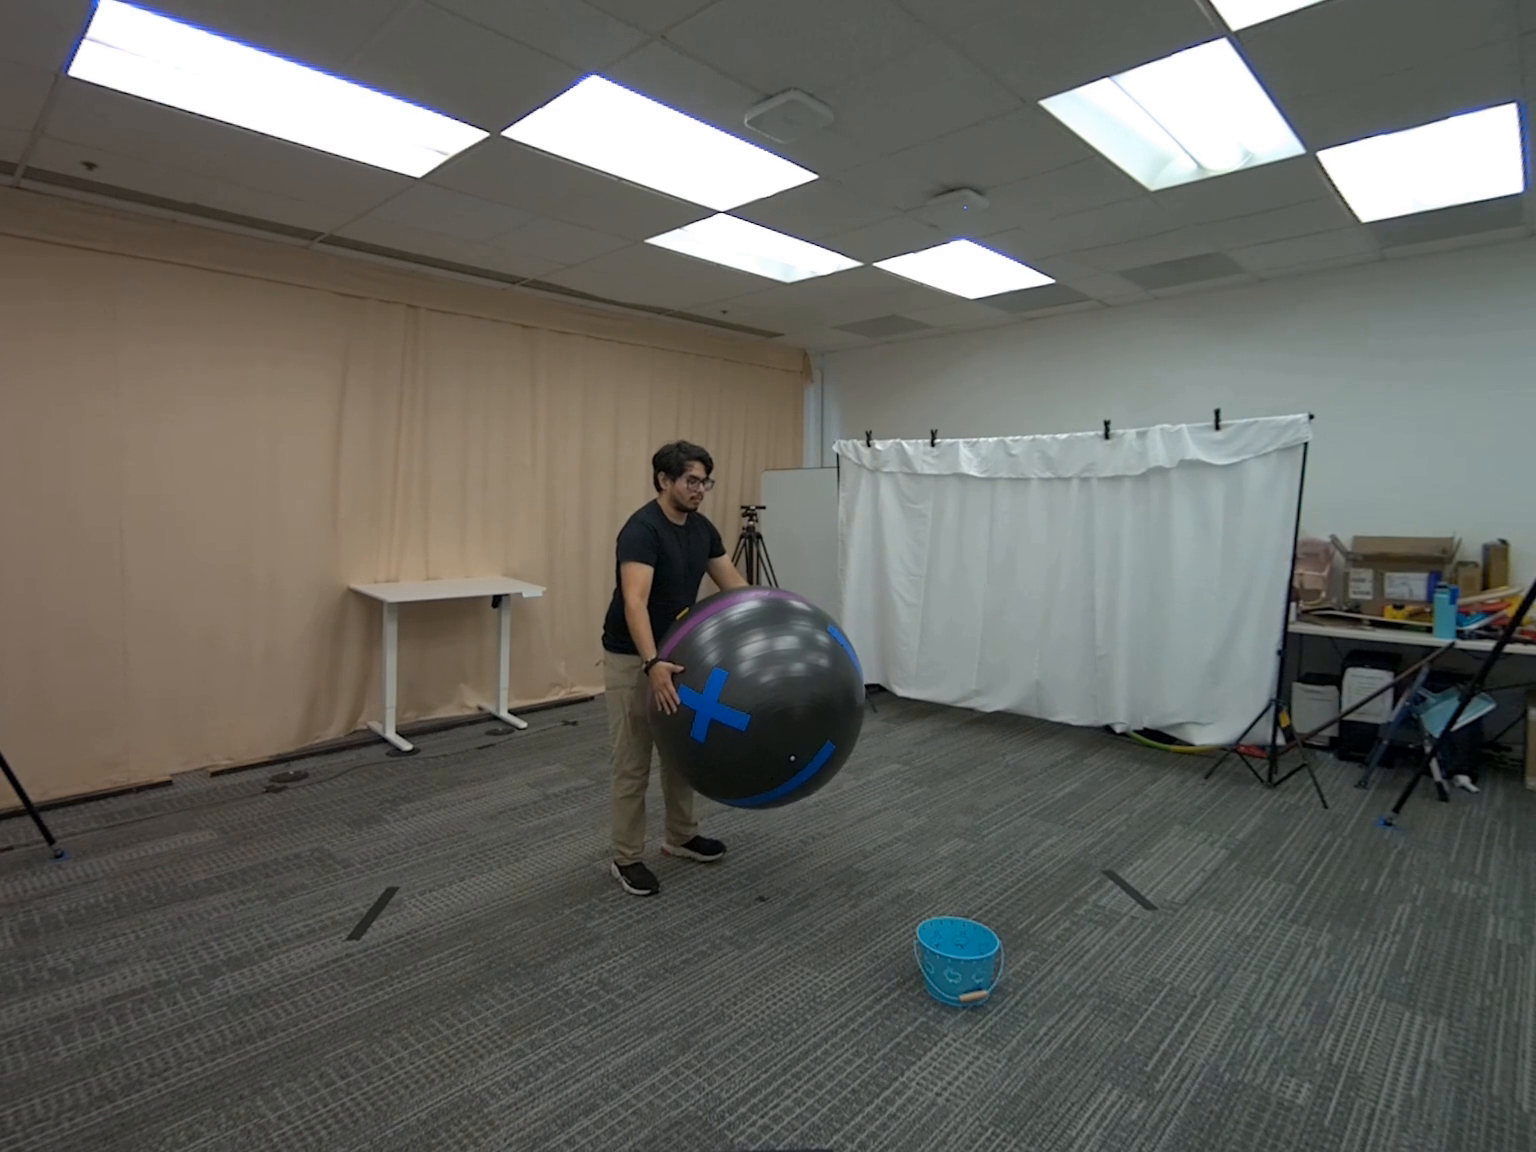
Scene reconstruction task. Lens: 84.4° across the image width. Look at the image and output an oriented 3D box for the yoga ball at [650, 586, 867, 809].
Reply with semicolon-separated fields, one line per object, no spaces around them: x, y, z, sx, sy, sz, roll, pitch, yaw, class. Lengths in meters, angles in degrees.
-0.038;0.422;2.920;0.757;0.756;0.760;0;4;-2;yoga ball
